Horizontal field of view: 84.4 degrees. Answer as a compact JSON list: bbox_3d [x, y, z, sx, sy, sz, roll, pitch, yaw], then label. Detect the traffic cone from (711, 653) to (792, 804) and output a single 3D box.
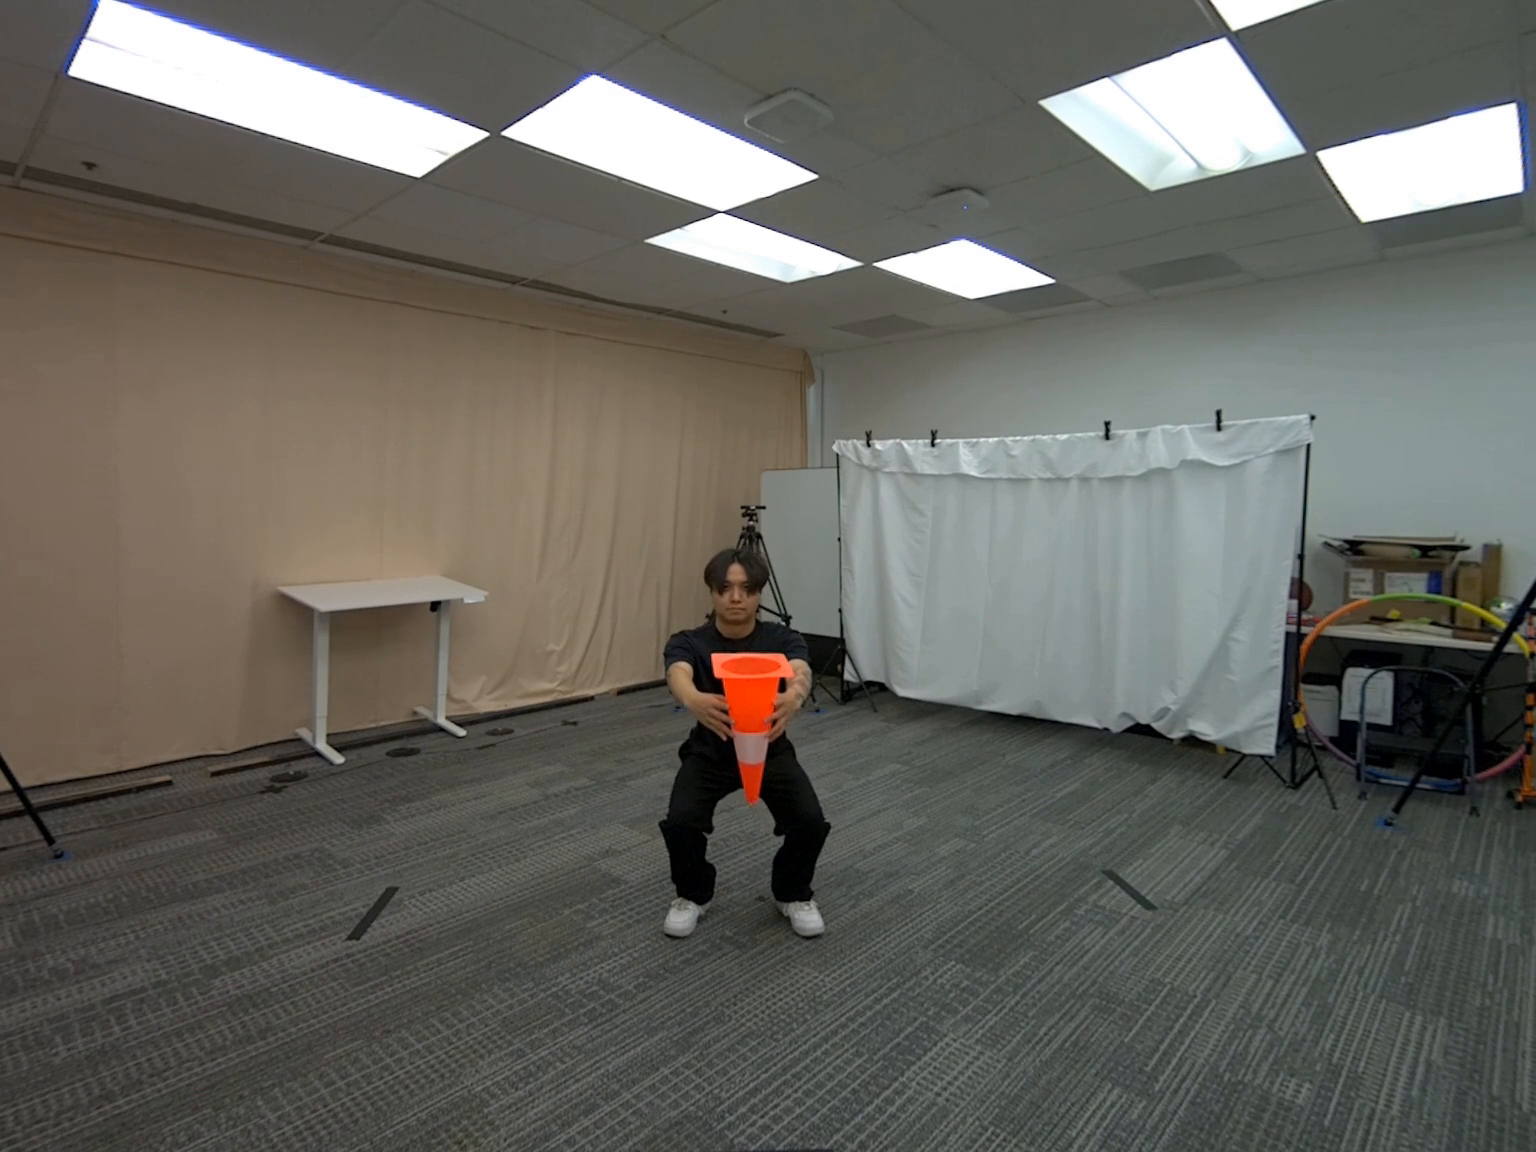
[{"bbox_3d":[-0.050,0.419,2.209,0.203,0.381,0.206,1,11,-7],"label":"traffic cone"}]
